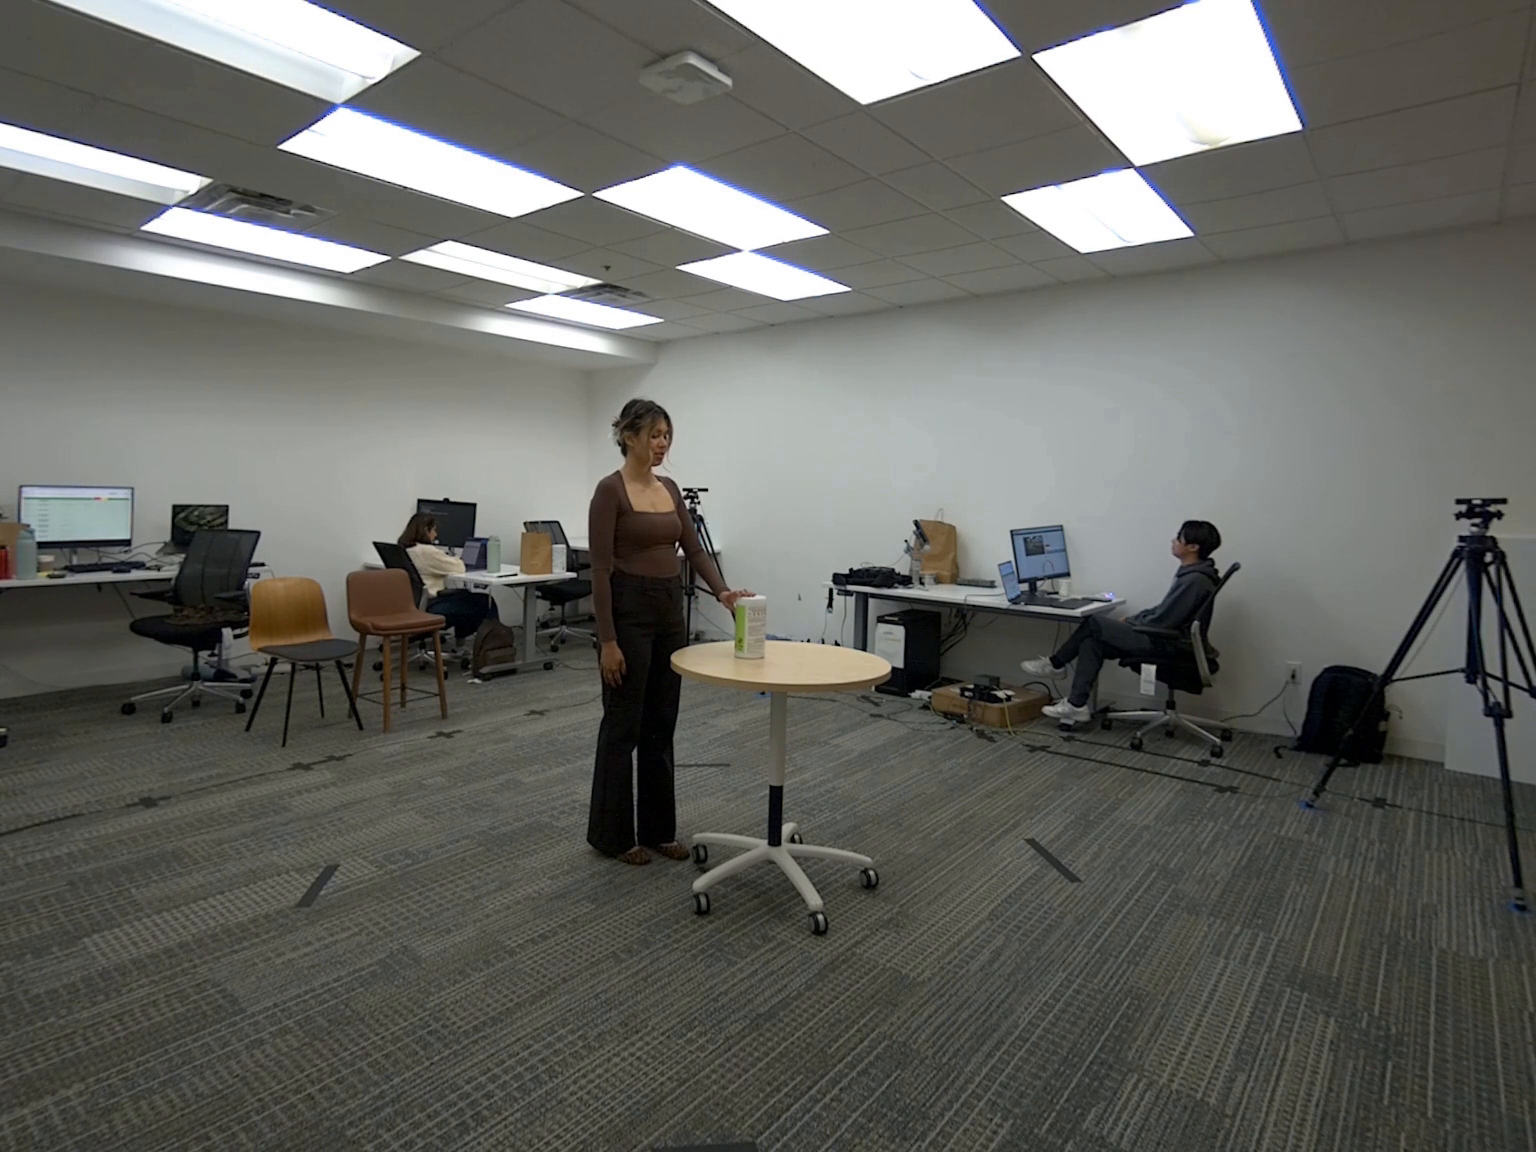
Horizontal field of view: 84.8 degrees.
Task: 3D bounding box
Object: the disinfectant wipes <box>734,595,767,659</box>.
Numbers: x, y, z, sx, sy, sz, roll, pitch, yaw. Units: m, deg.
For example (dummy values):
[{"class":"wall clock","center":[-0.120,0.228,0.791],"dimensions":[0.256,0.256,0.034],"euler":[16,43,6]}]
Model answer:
[{"class":"disinfectant wipes","center":[-0.073,0.179,3.014],"dimensions":[0.118,0.217,0.118],"euler":[1,2,-2]}]
